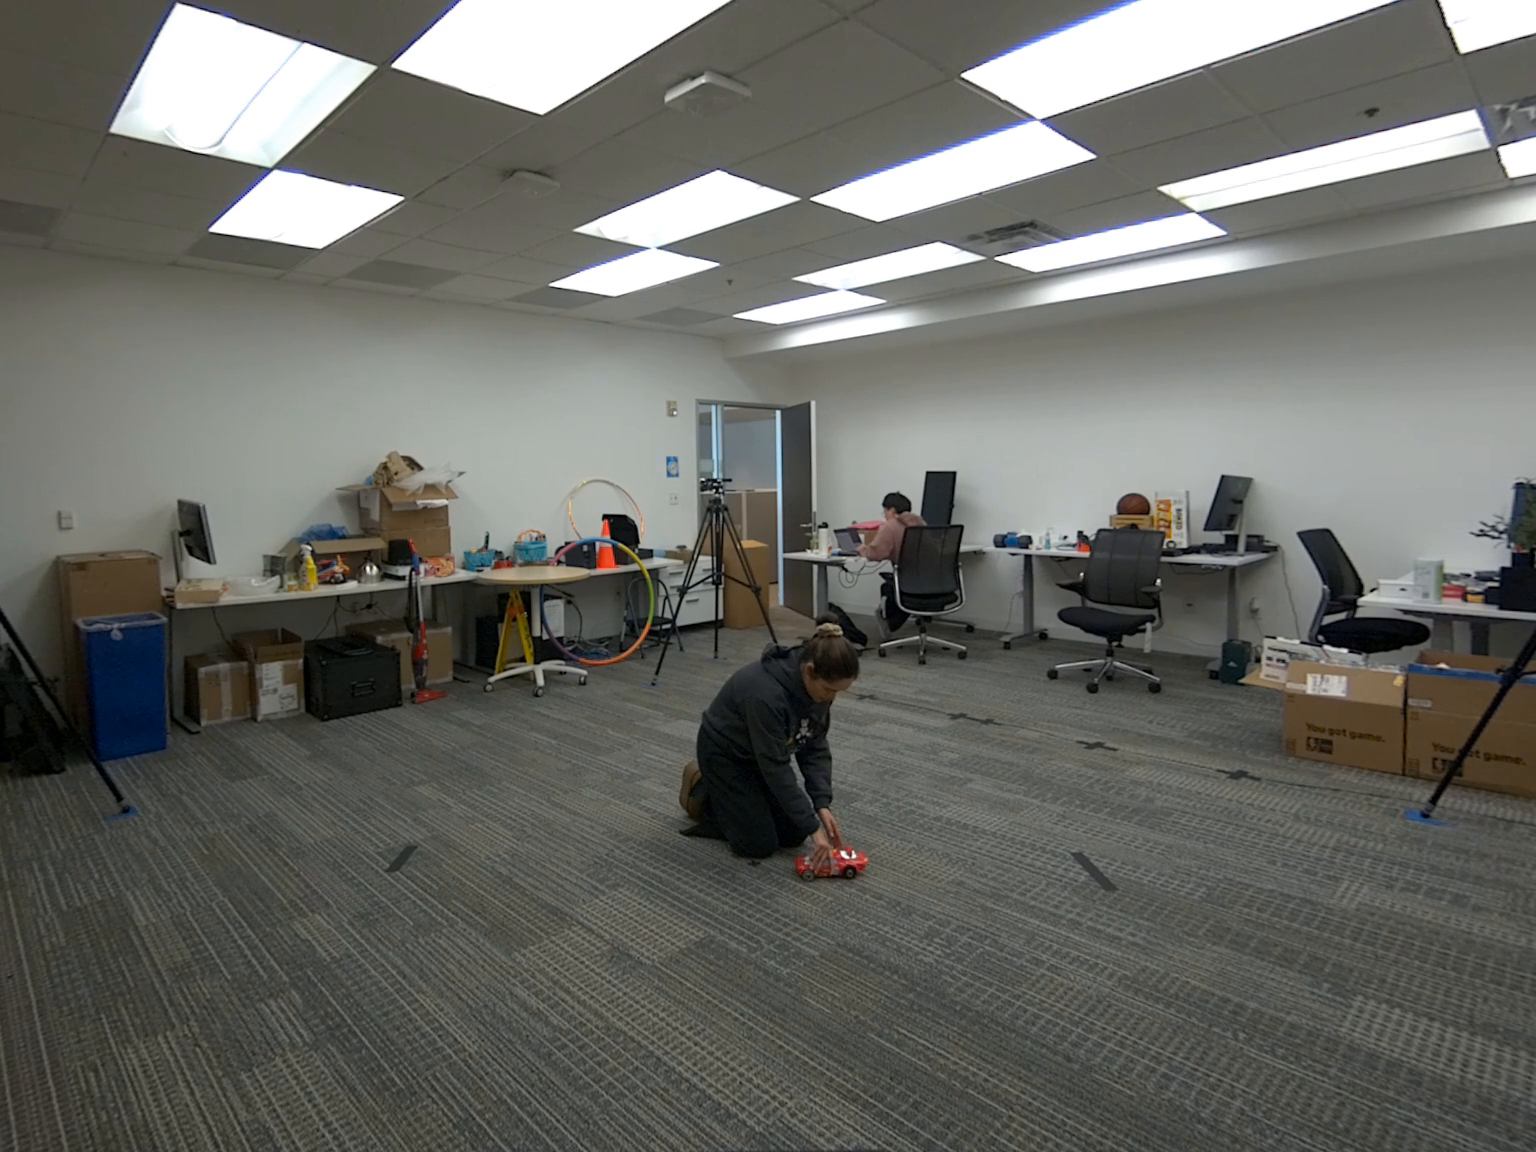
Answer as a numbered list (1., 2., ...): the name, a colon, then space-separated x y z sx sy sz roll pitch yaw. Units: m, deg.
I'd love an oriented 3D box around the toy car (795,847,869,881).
1. toy car: 0.233 1.019 3.003 0.254 0.083 0.131 -14 6 -2
